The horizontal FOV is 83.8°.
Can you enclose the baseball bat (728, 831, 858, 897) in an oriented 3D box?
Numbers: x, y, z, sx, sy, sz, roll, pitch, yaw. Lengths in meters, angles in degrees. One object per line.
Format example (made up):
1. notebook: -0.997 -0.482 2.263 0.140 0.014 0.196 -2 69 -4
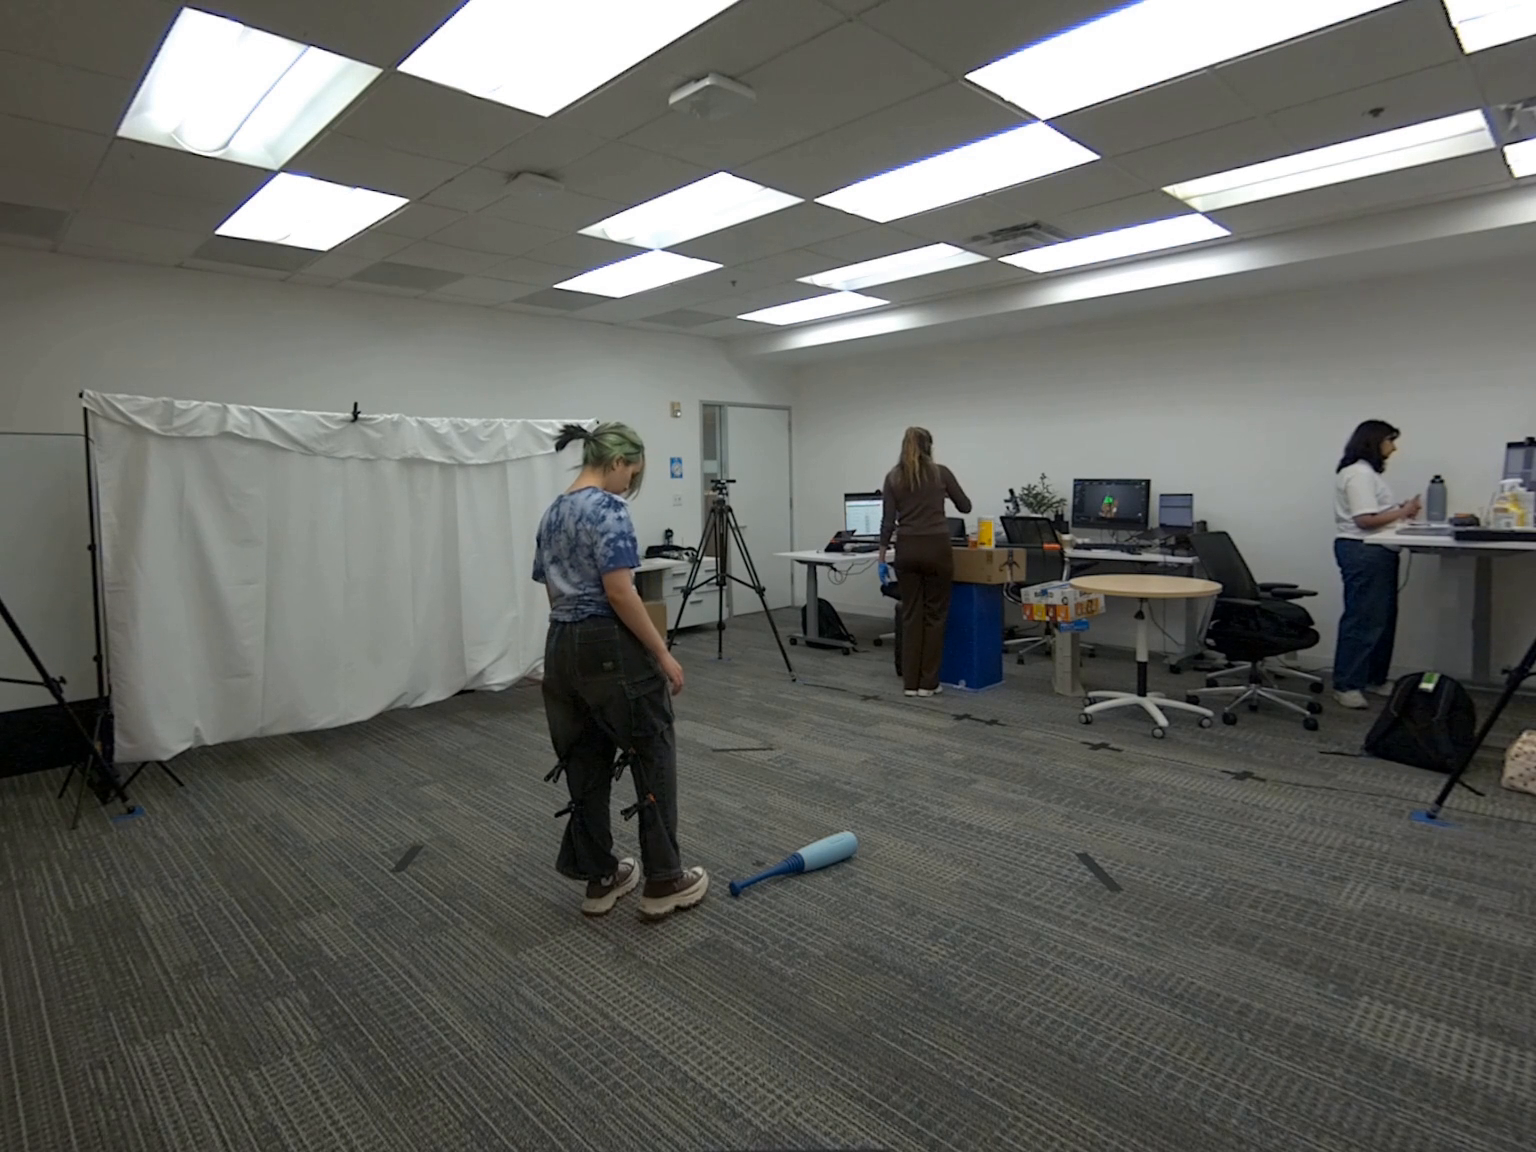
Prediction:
1. baseball bat: 0.097 1.023 3.012 0.531 0.088 0.091 -9 9 -33
